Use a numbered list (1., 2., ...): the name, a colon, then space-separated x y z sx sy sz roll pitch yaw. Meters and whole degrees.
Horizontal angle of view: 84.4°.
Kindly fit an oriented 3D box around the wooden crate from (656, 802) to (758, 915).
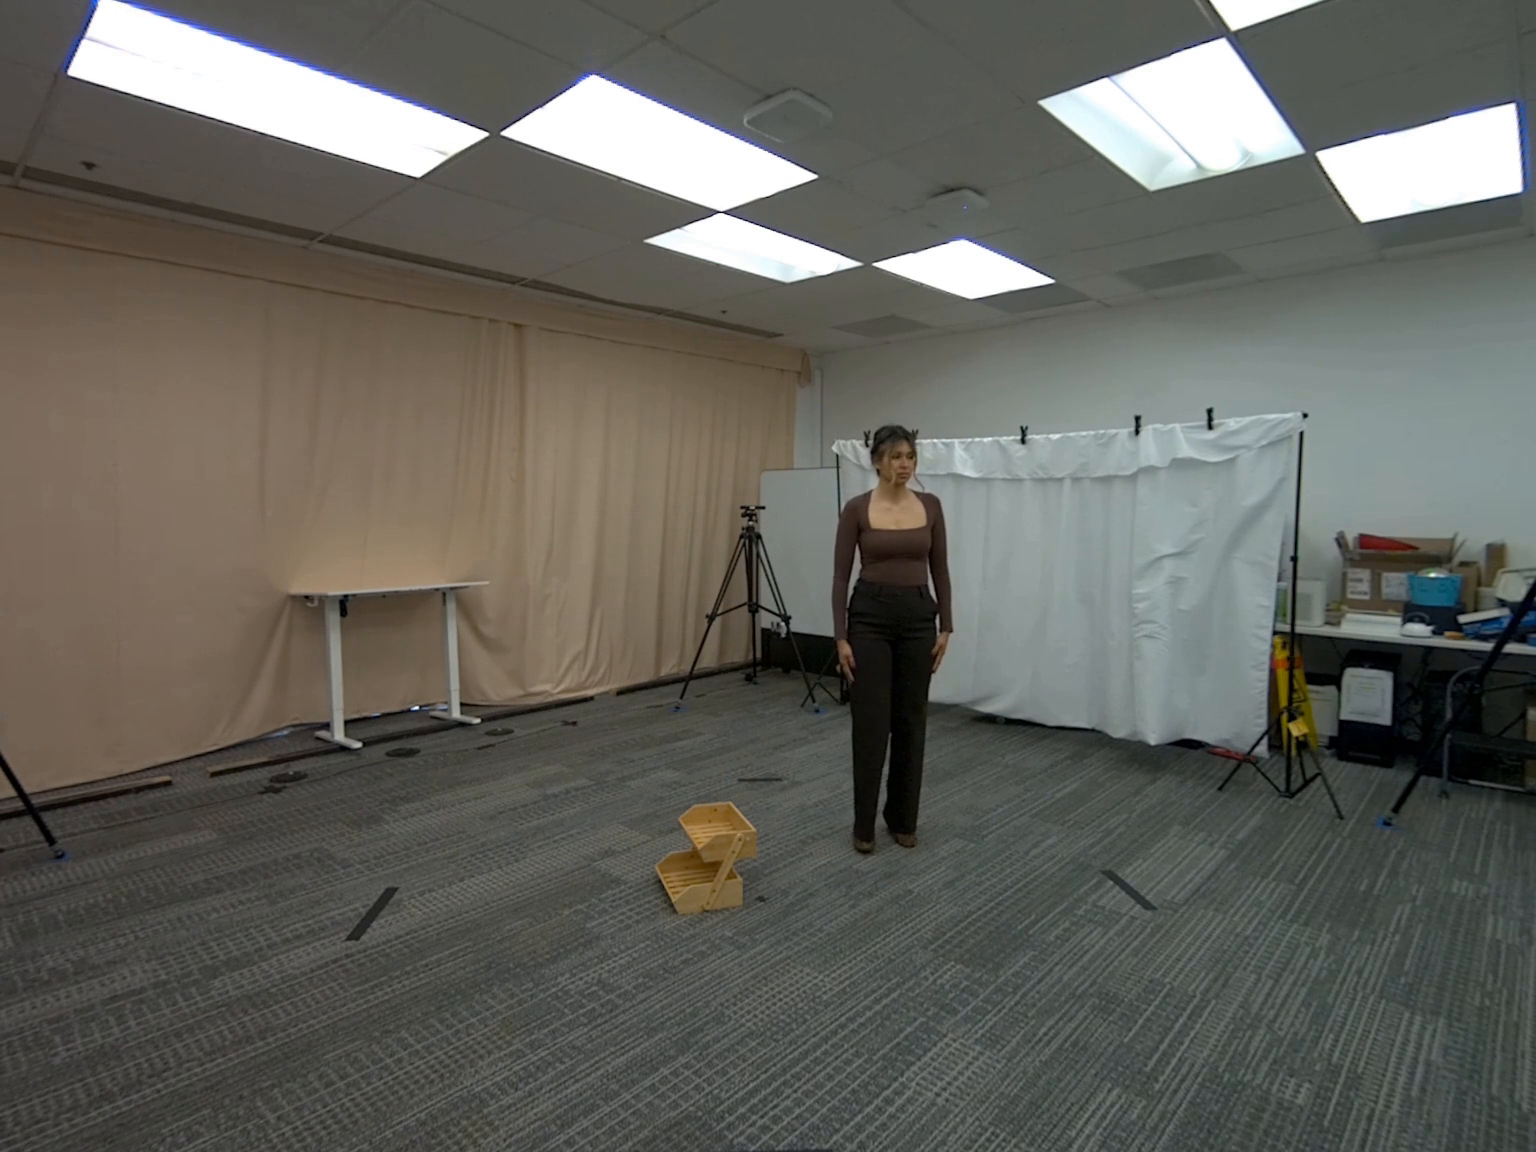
1. wooden crate: -0.233 1.005 3.044 0.296 0.273 0.331 -1 4 -19
